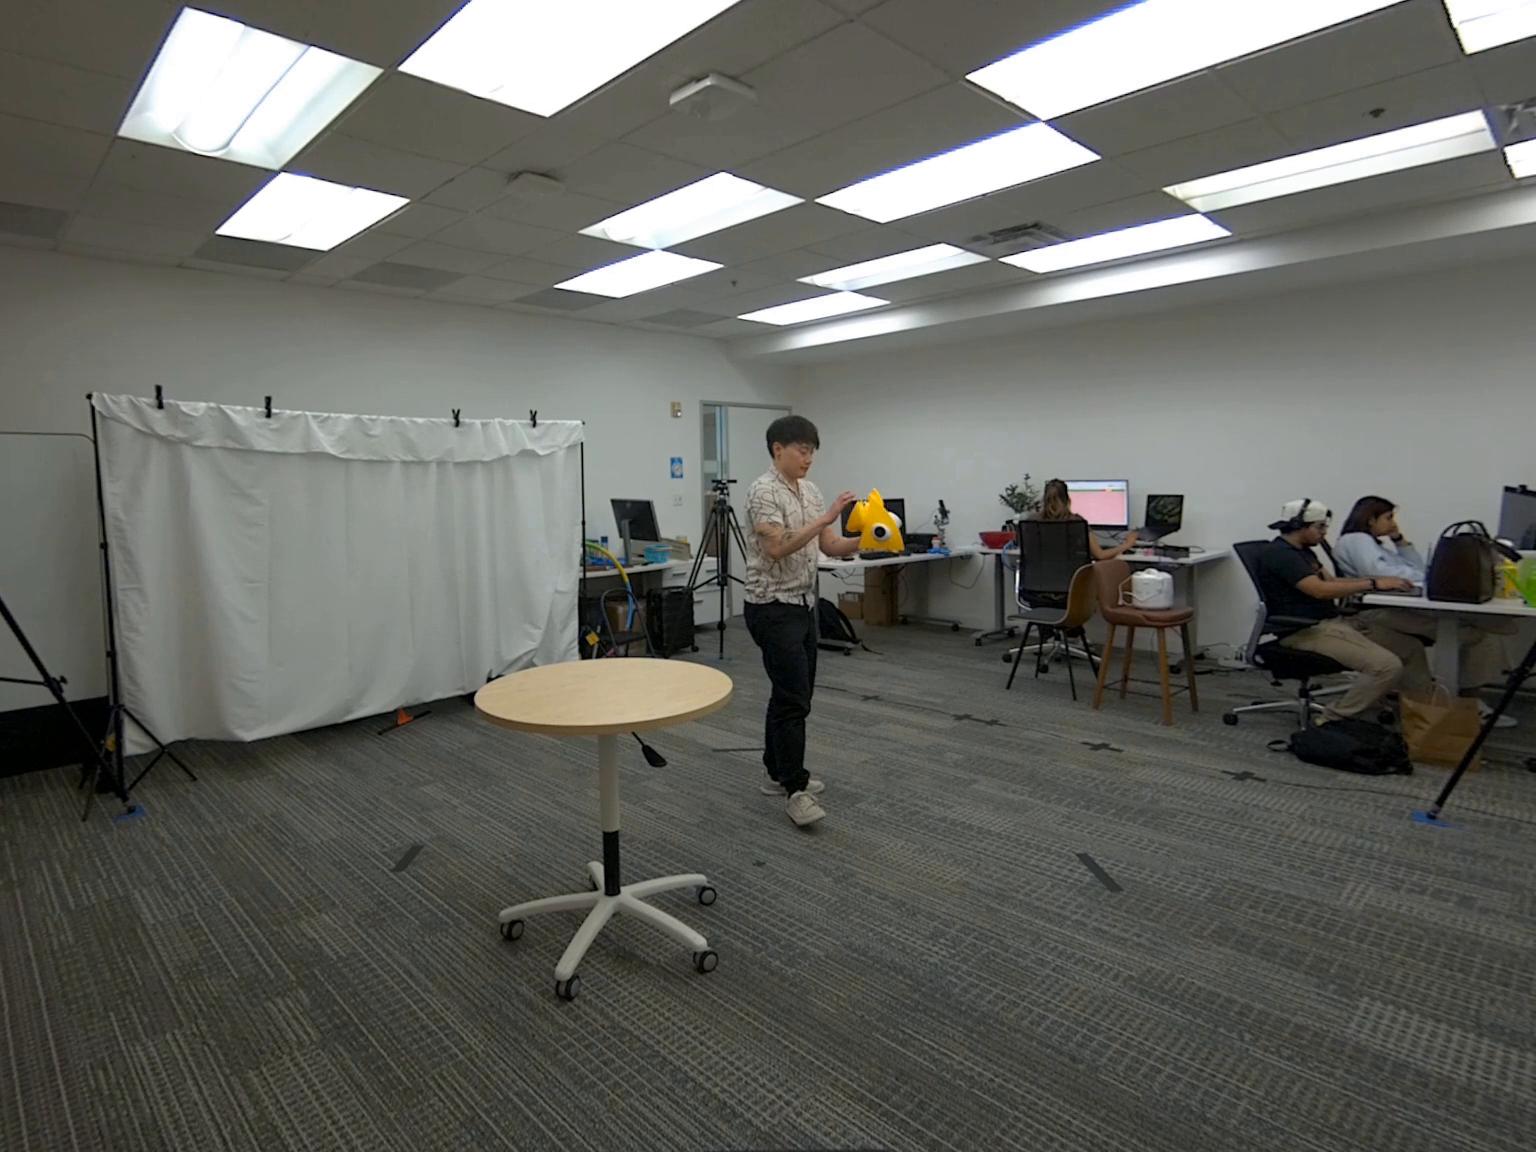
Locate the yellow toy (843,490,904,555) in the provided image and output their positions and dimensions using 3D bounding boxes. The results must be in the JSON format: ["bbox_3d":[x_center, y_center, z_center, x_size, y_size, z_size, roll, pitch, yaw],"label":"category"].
[{"bbox_3d":[0.470,-0.207,3.504,0.237,0.189,0.203,33,47,22],"label":"yellow toy"}]
